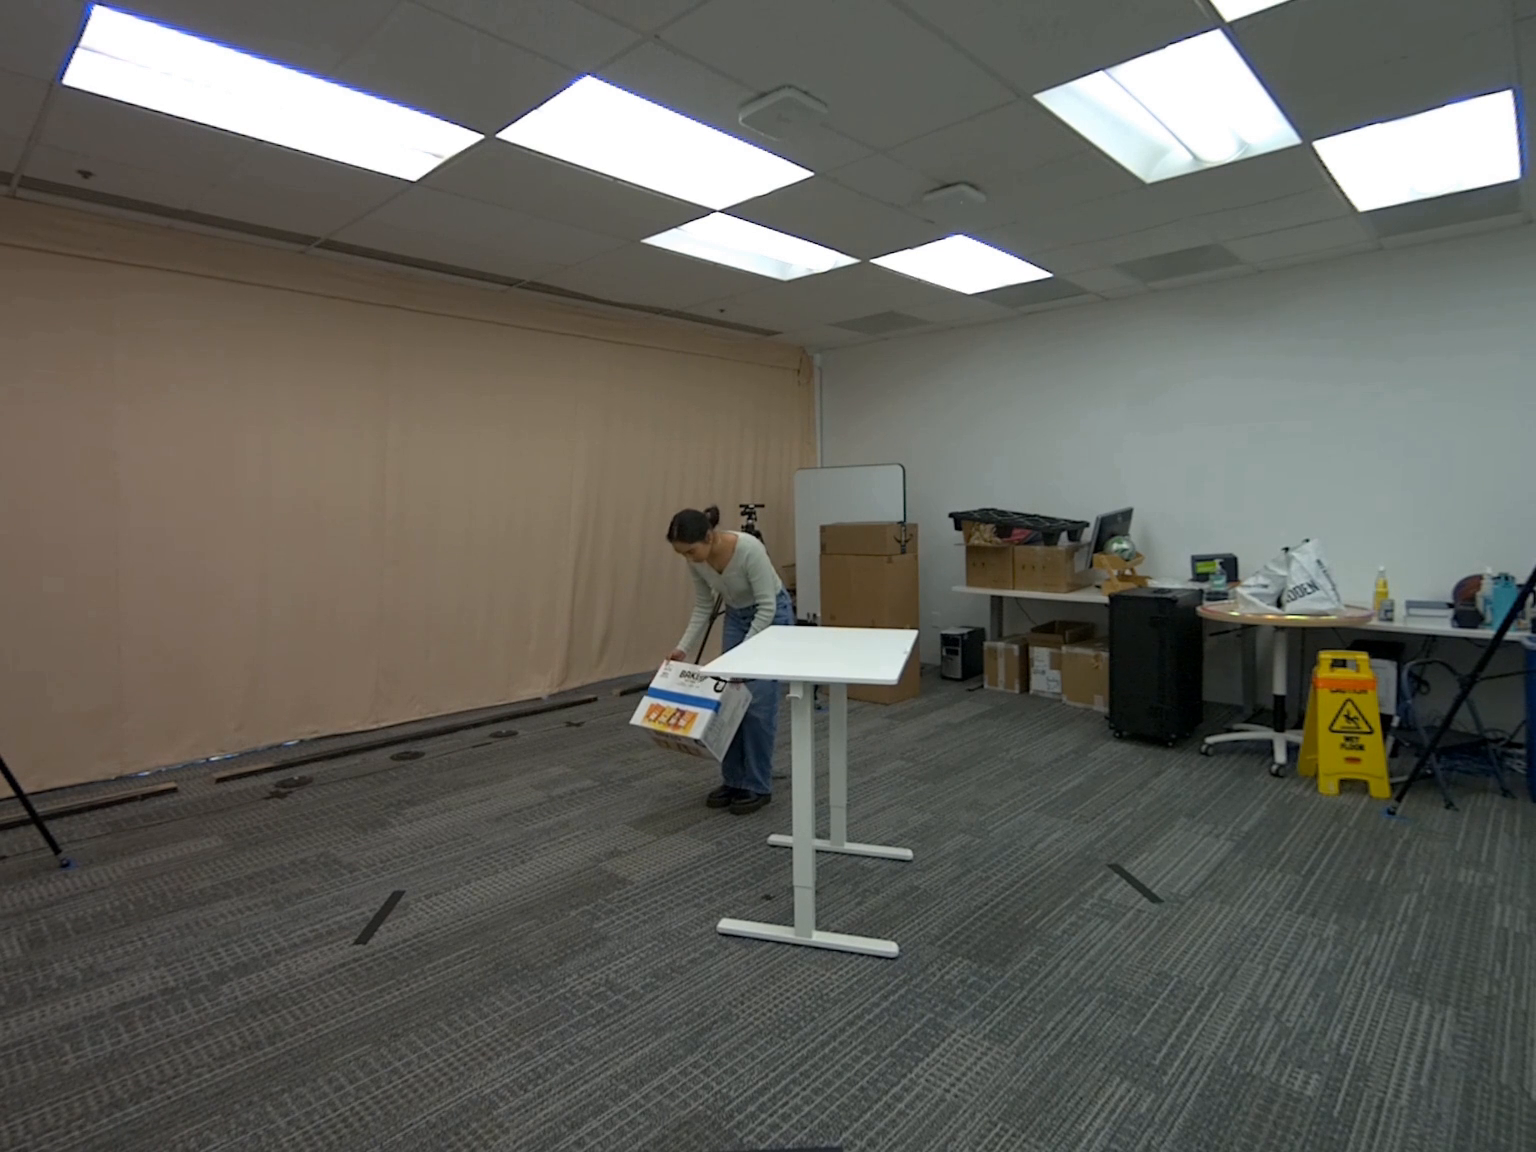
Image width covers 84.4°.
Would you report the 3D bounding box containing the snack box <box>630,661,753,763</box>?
[{"bbox_3d":[-0.336,0.592,3.728,0.418,0.341,0.199,3,-37,36],"label":"snack box"}]
